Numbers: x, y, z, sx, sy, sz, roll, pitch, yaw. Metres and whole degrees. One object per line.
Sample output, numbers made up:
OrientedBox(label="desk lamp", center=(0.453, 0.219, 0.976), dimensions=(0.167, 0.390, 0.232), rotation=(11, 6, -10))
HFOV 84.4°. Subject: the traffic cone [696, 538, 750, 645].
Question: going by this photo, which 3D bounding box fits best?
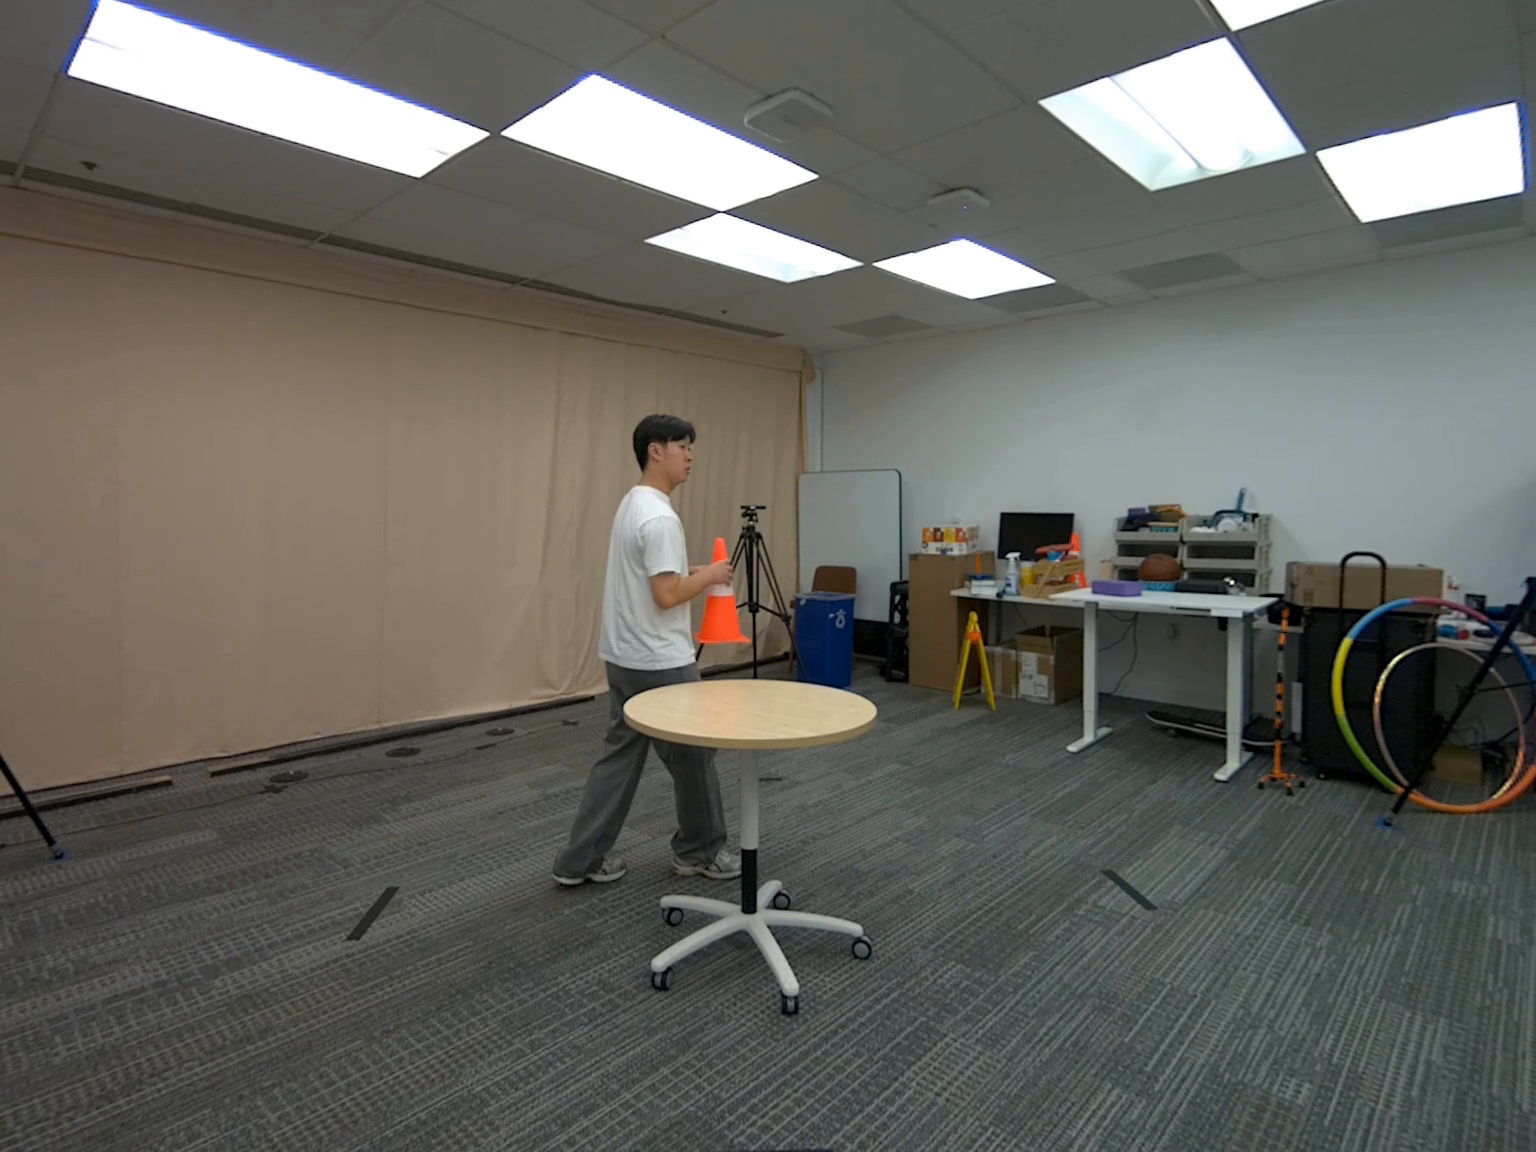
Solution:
OrientedBox(label="traffic cone", center=(-0.180, 0.043, 3.201), dimensions=(0.200, 0.382, 0.209), rotation=(-2, 5, -15))
